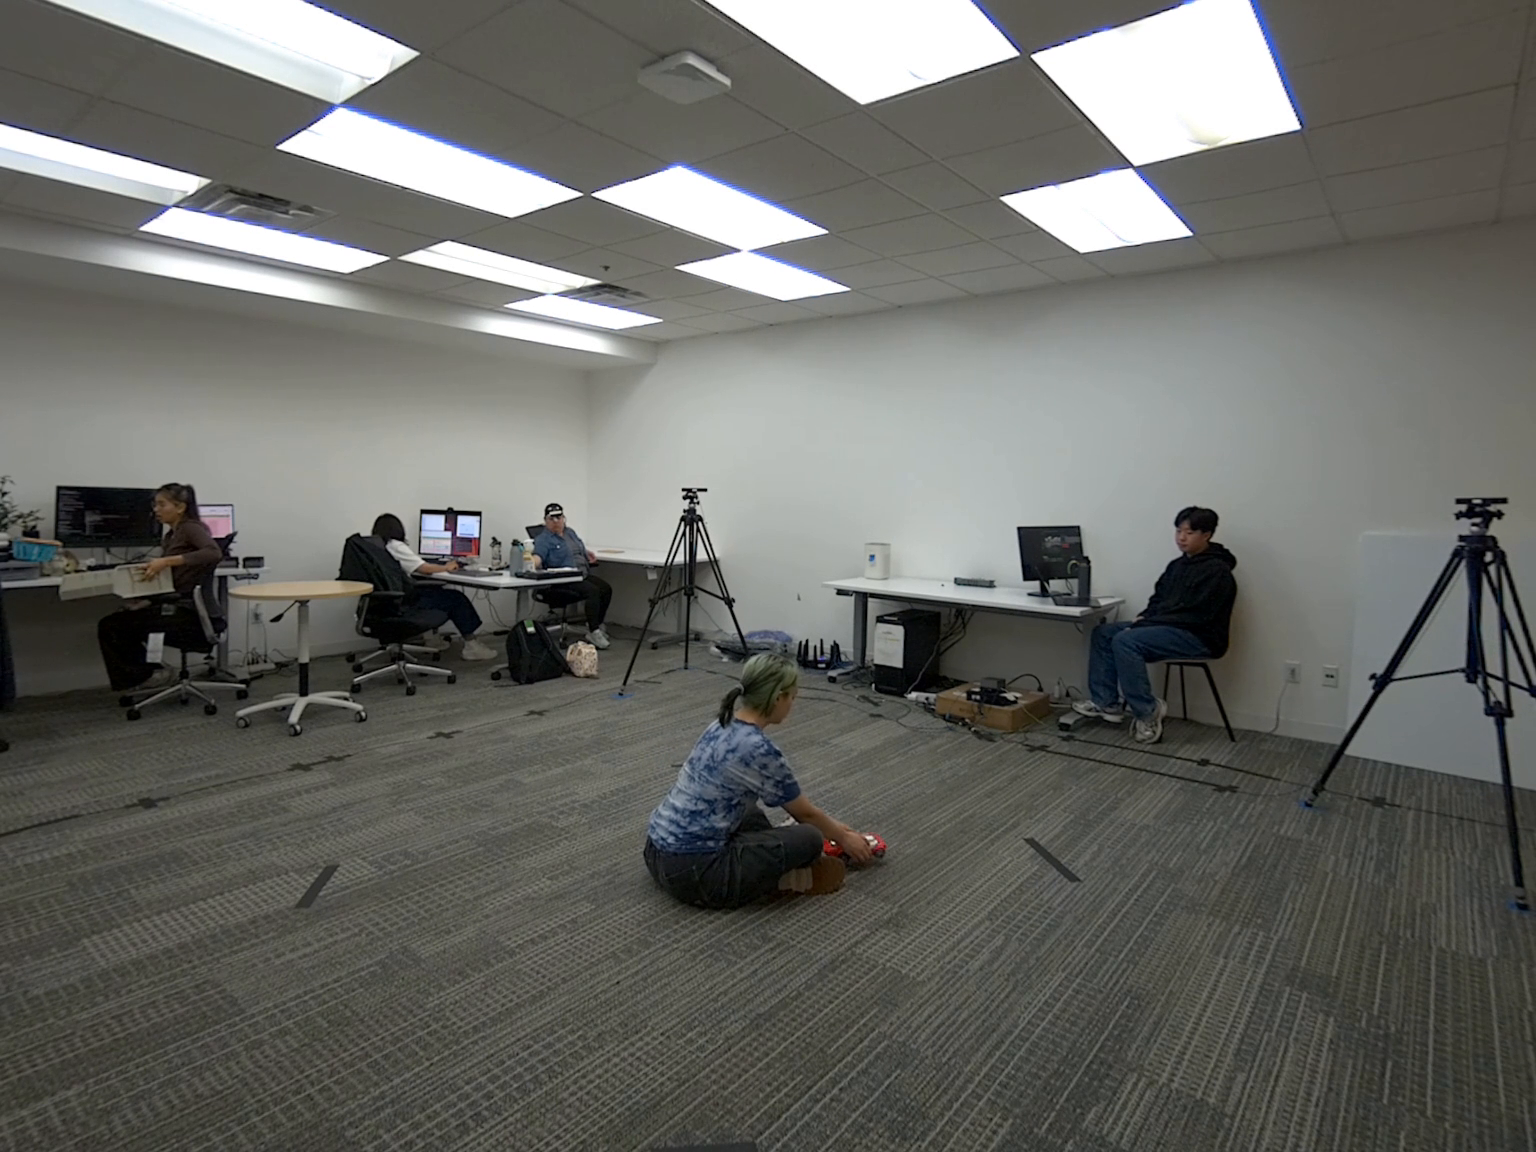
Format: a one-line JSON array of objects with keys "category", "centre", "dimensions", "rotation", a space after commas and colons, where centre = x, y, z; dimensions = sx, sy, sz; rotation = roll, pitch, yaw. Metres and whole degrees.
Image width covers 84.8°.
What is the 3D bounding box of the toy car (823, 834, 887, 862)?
[{"category": "toy car", "centre": [0.307, 1.013, 3.183], "dimensions": [0.250, 0.082, 0.133], "rotation": [7, 10, -14]}]
